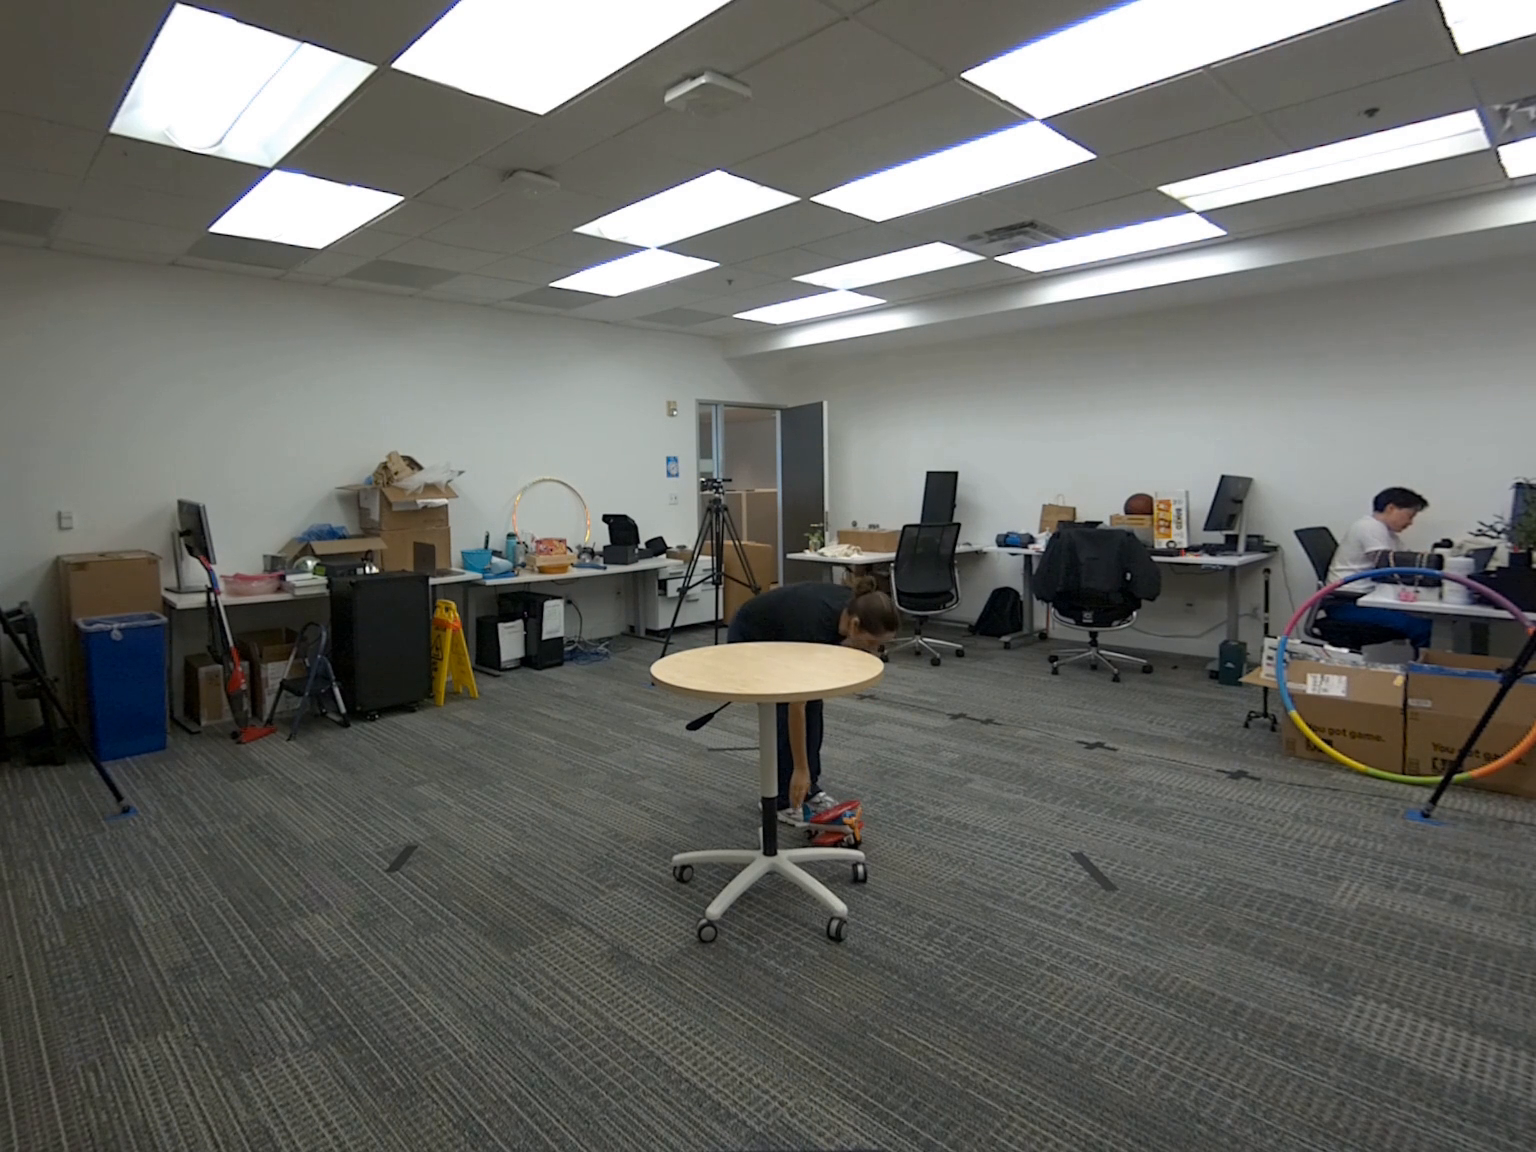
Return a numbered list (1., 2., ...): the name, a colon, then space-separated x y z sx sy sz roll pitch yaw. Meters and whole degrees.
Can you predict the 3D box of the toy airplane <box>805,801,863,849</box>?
1. toy airplane: 0.222 0.952 3.256 0.263 0.156 0.248 1 6 16
